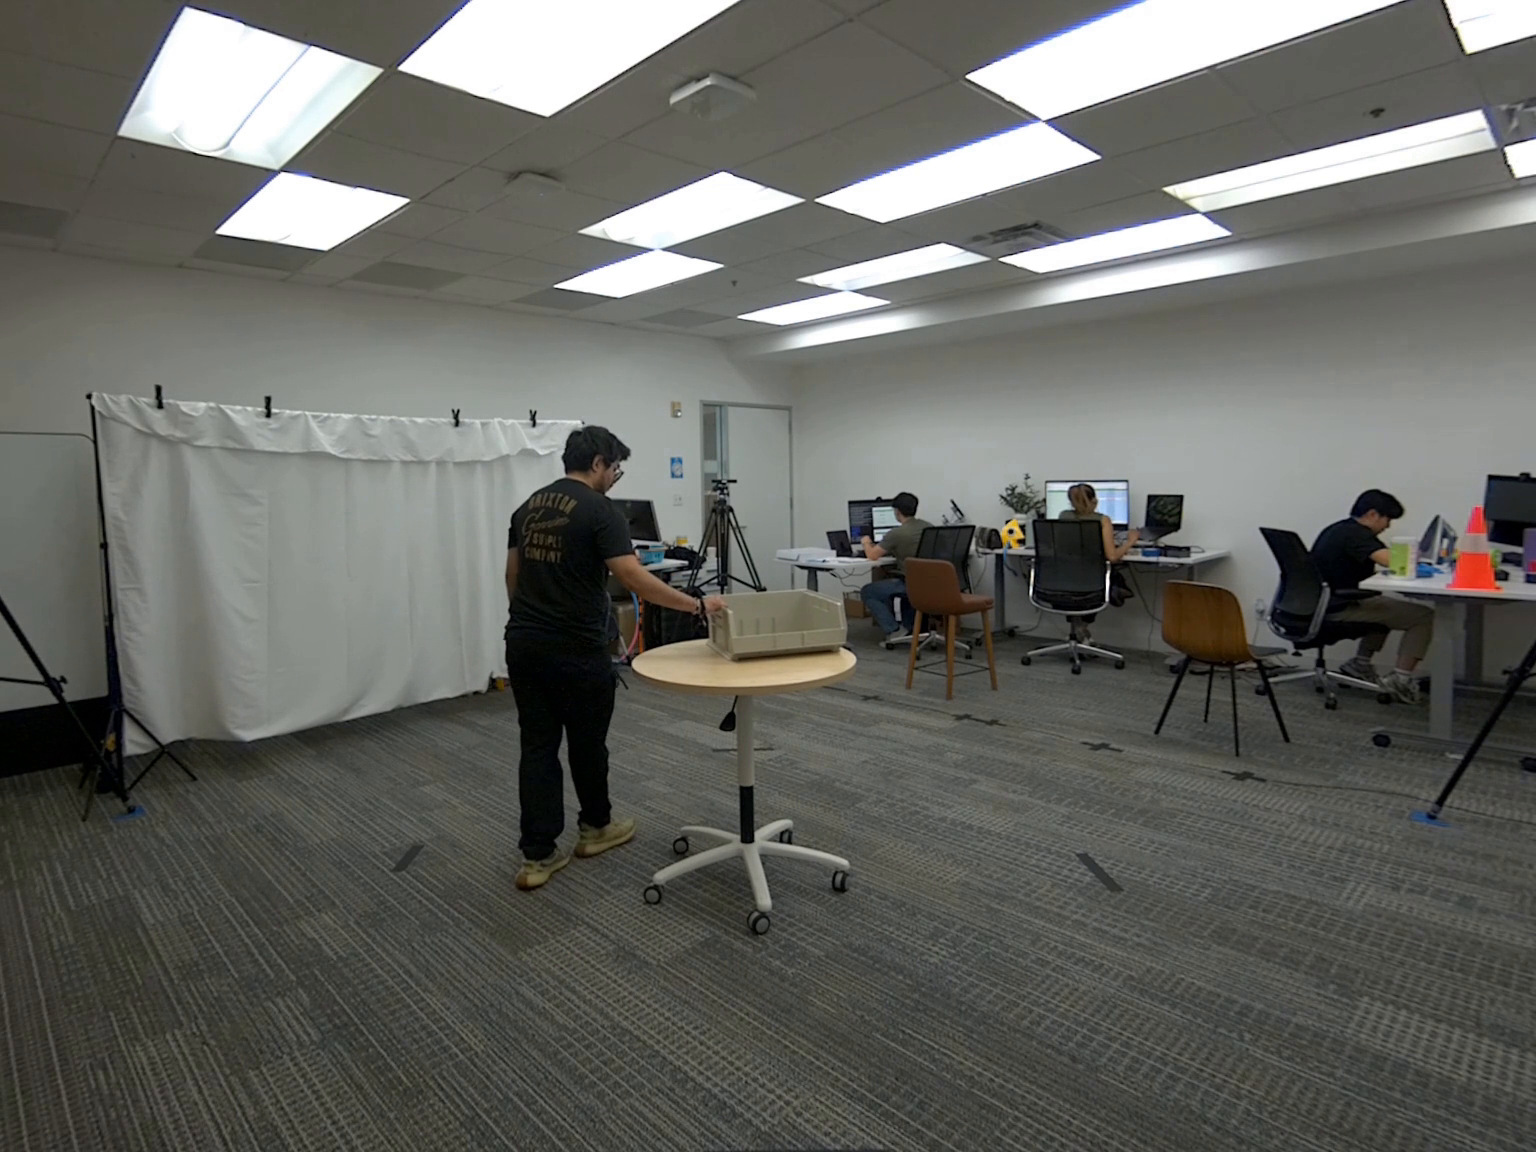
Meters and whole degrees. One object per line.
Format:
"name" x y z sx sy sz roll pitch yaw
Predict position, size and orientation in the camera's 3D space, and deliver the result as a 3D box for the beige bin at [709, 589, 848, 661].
"beige bin" 0.014 0.173 3.073 0.416 0.188 0.384 -3 5 -16
